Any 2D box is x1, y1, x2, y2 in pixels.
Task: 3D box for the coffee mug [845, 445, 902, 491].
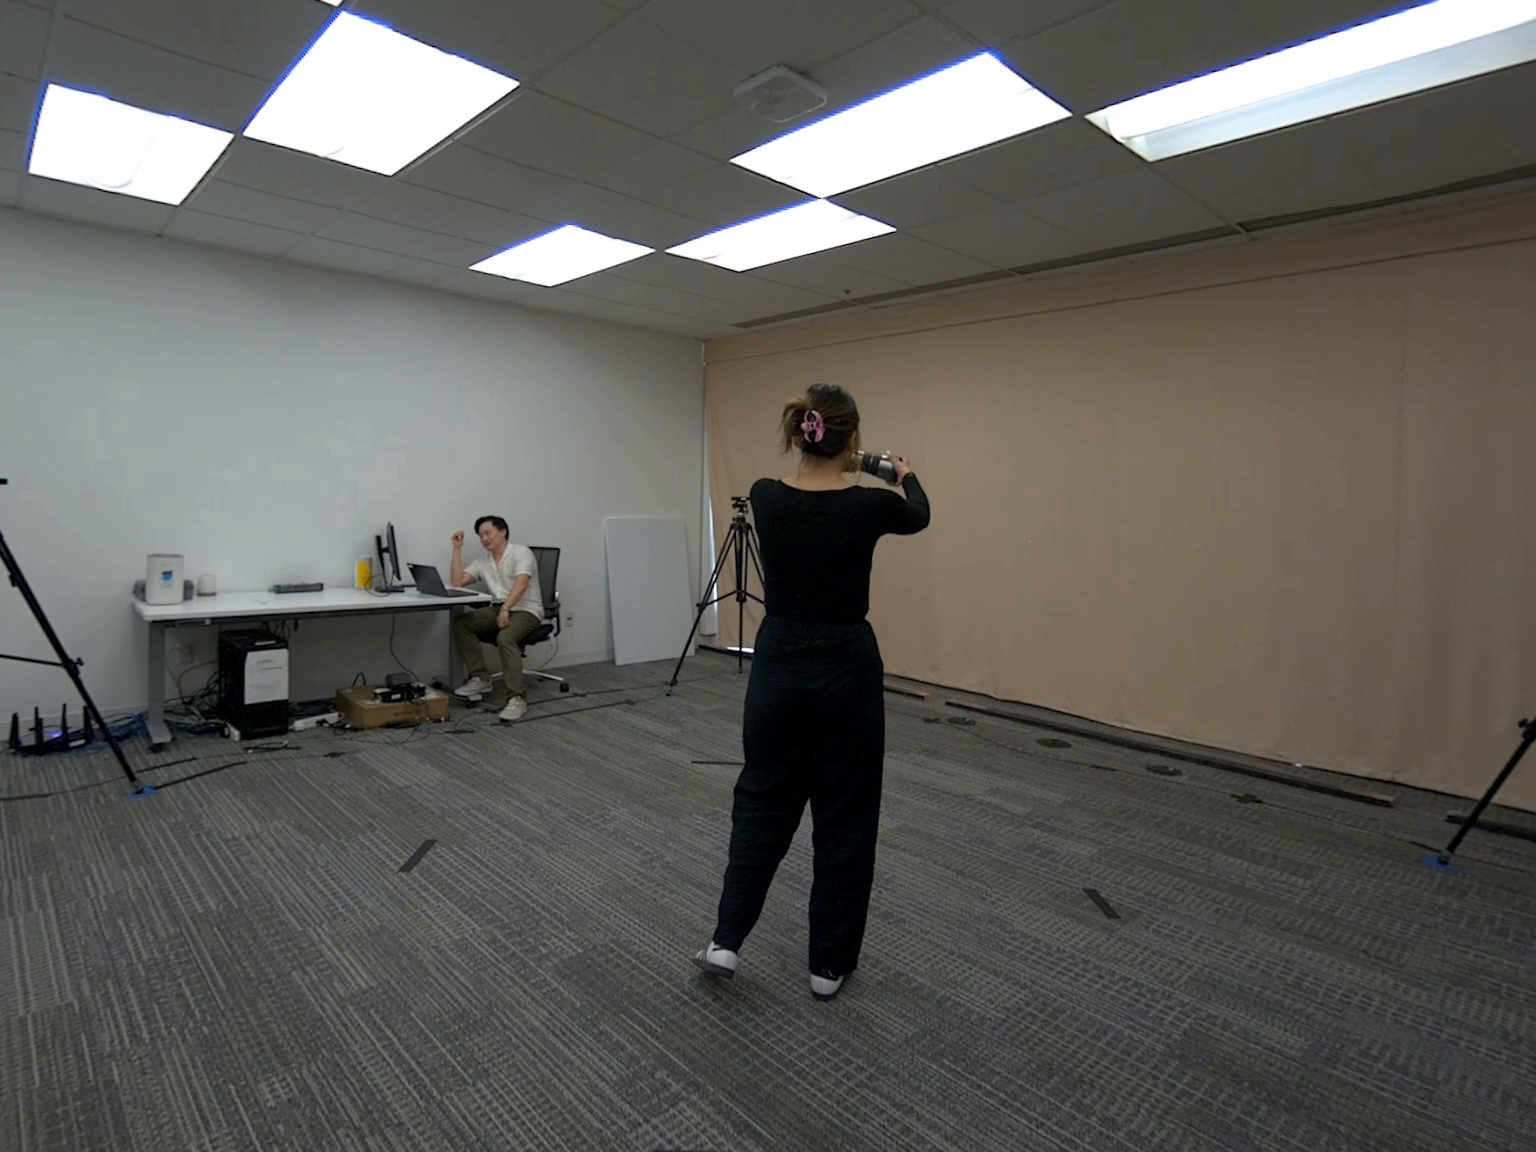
[{"bbox_3d":[0.327,-0.359,2.835,0.205,0.089,0.119,13,-33,8],"label":"coffee mug"}]
